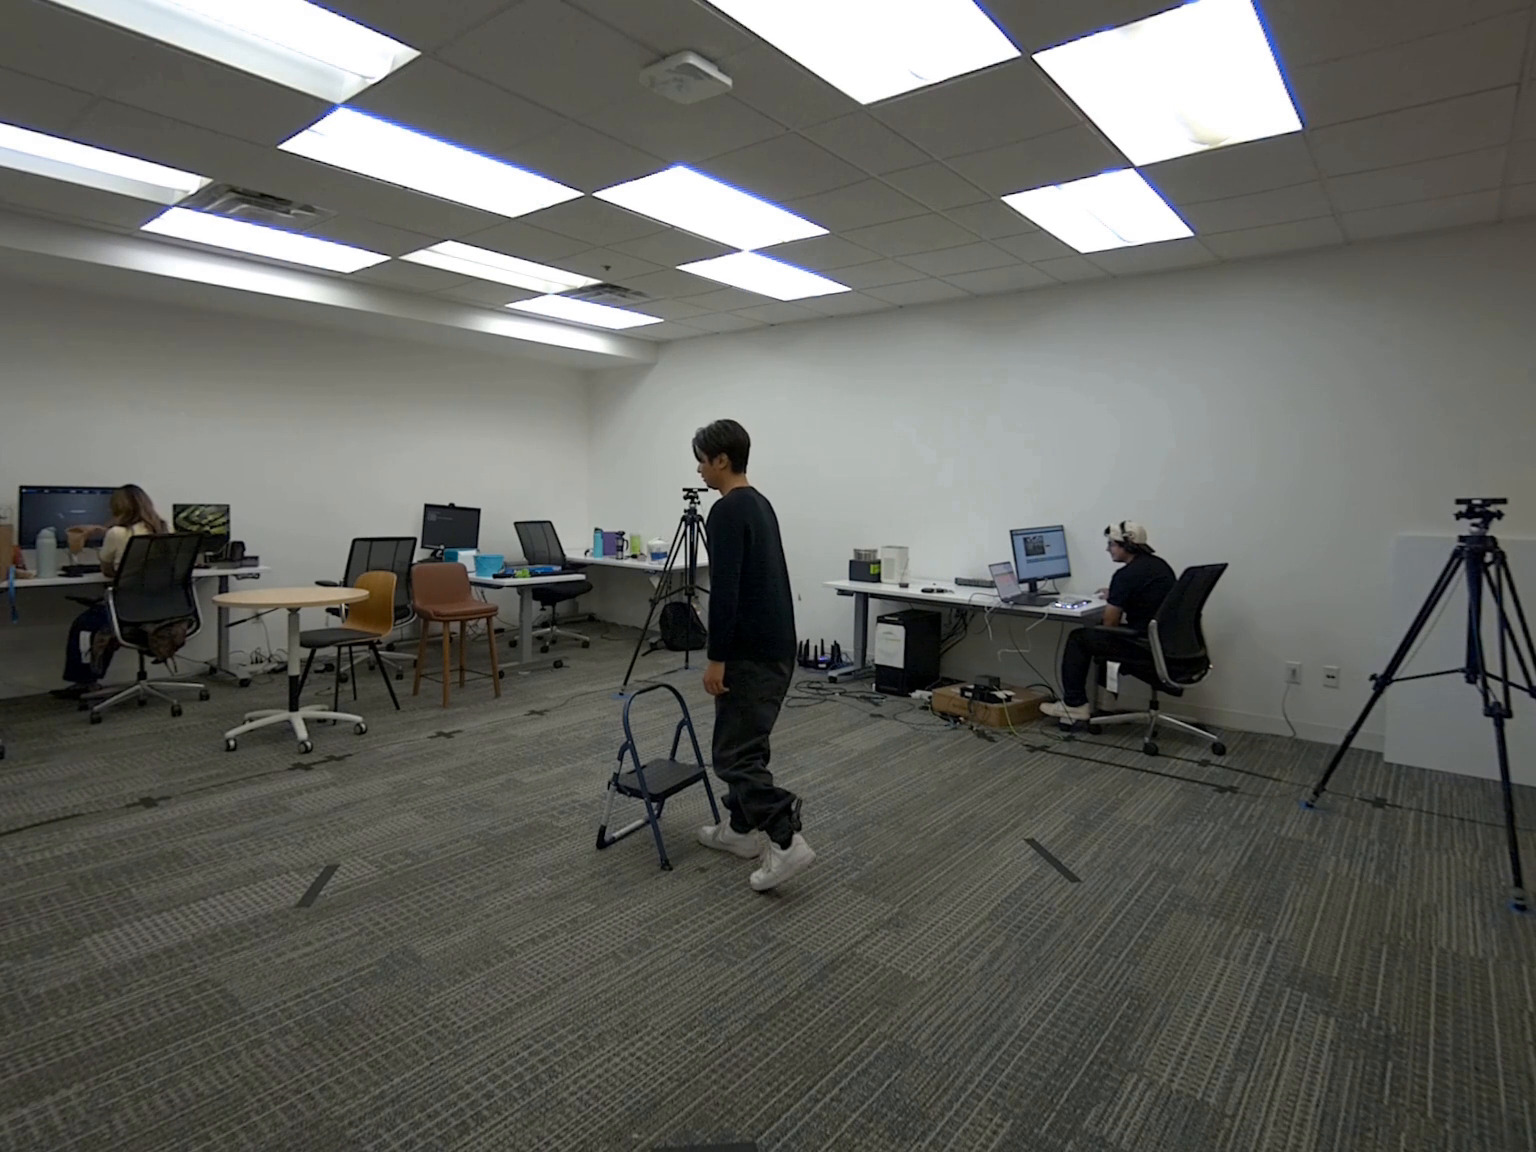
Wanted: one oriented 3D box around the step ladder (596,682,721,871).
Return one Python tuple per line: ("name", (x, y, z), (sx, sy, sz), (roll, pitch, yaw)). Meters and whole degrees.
("step ladder", (-0.427, 0.739, 3.347), (0.359, 0.604, 0.420), (3, 4, 29))
